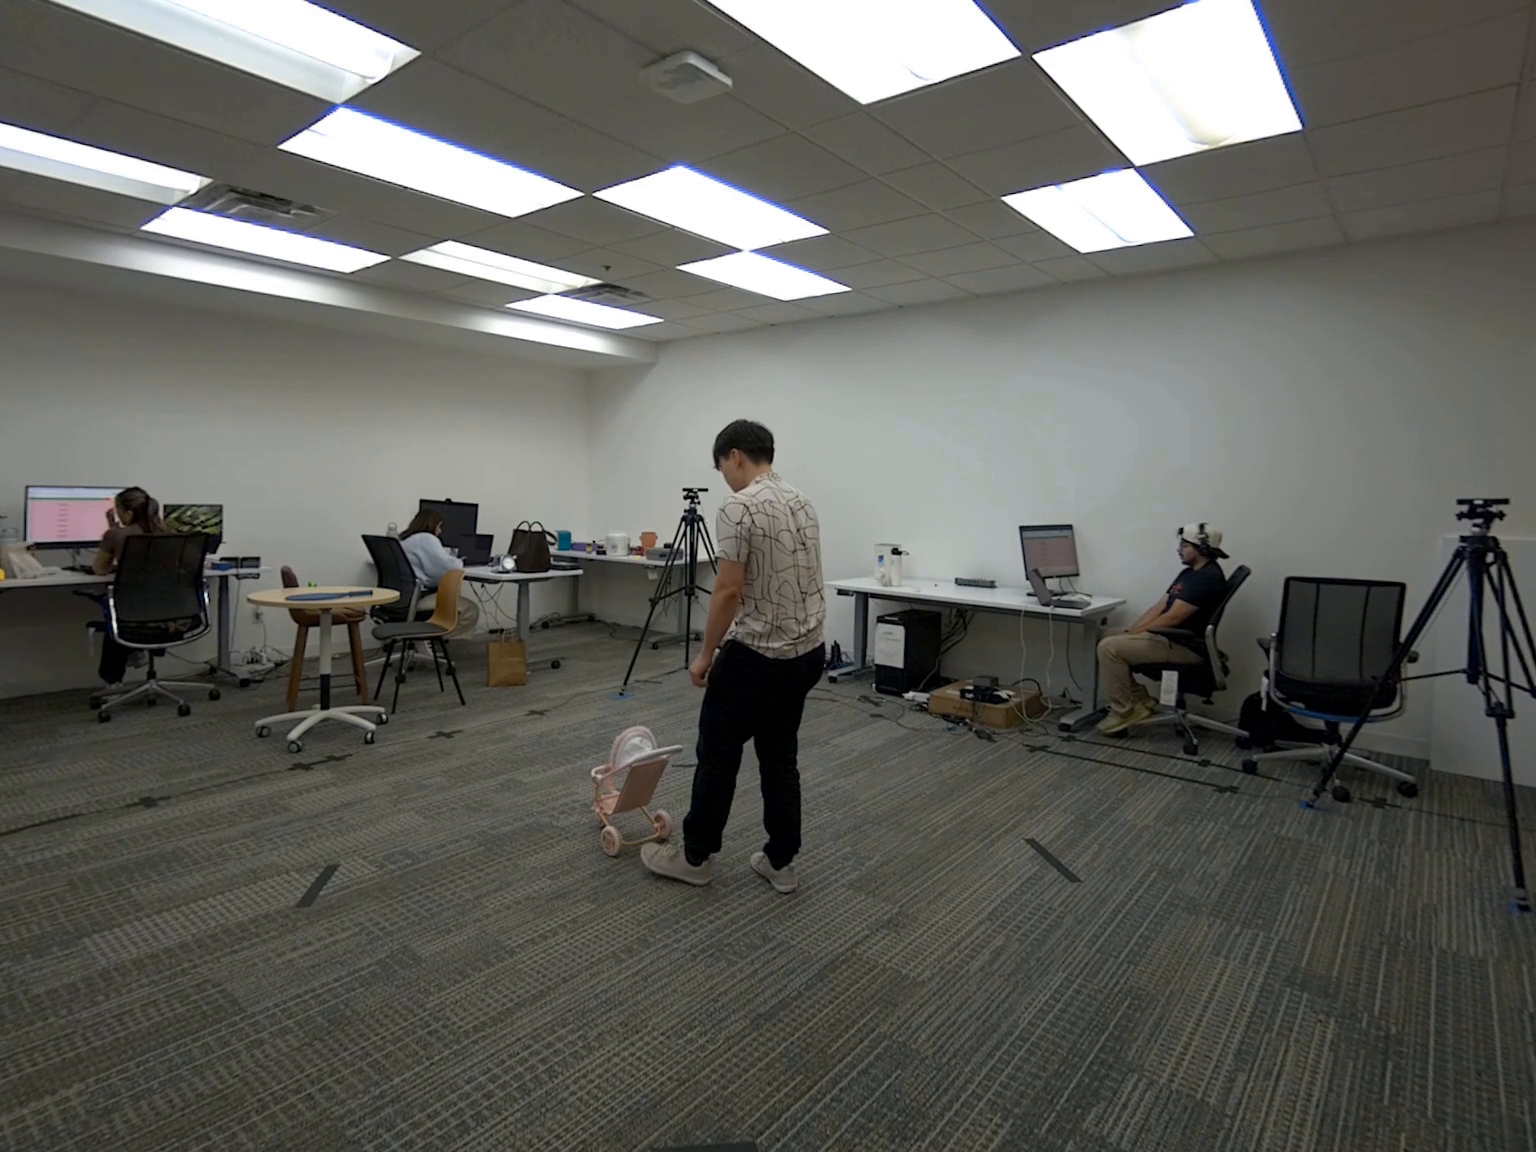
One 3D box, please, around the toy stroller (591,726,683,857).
[{"bbox_3d":[-0.556,0.818,3.333,0.273,0.529,0.356,-2,21,-40],"label":"toy stroller"}]
